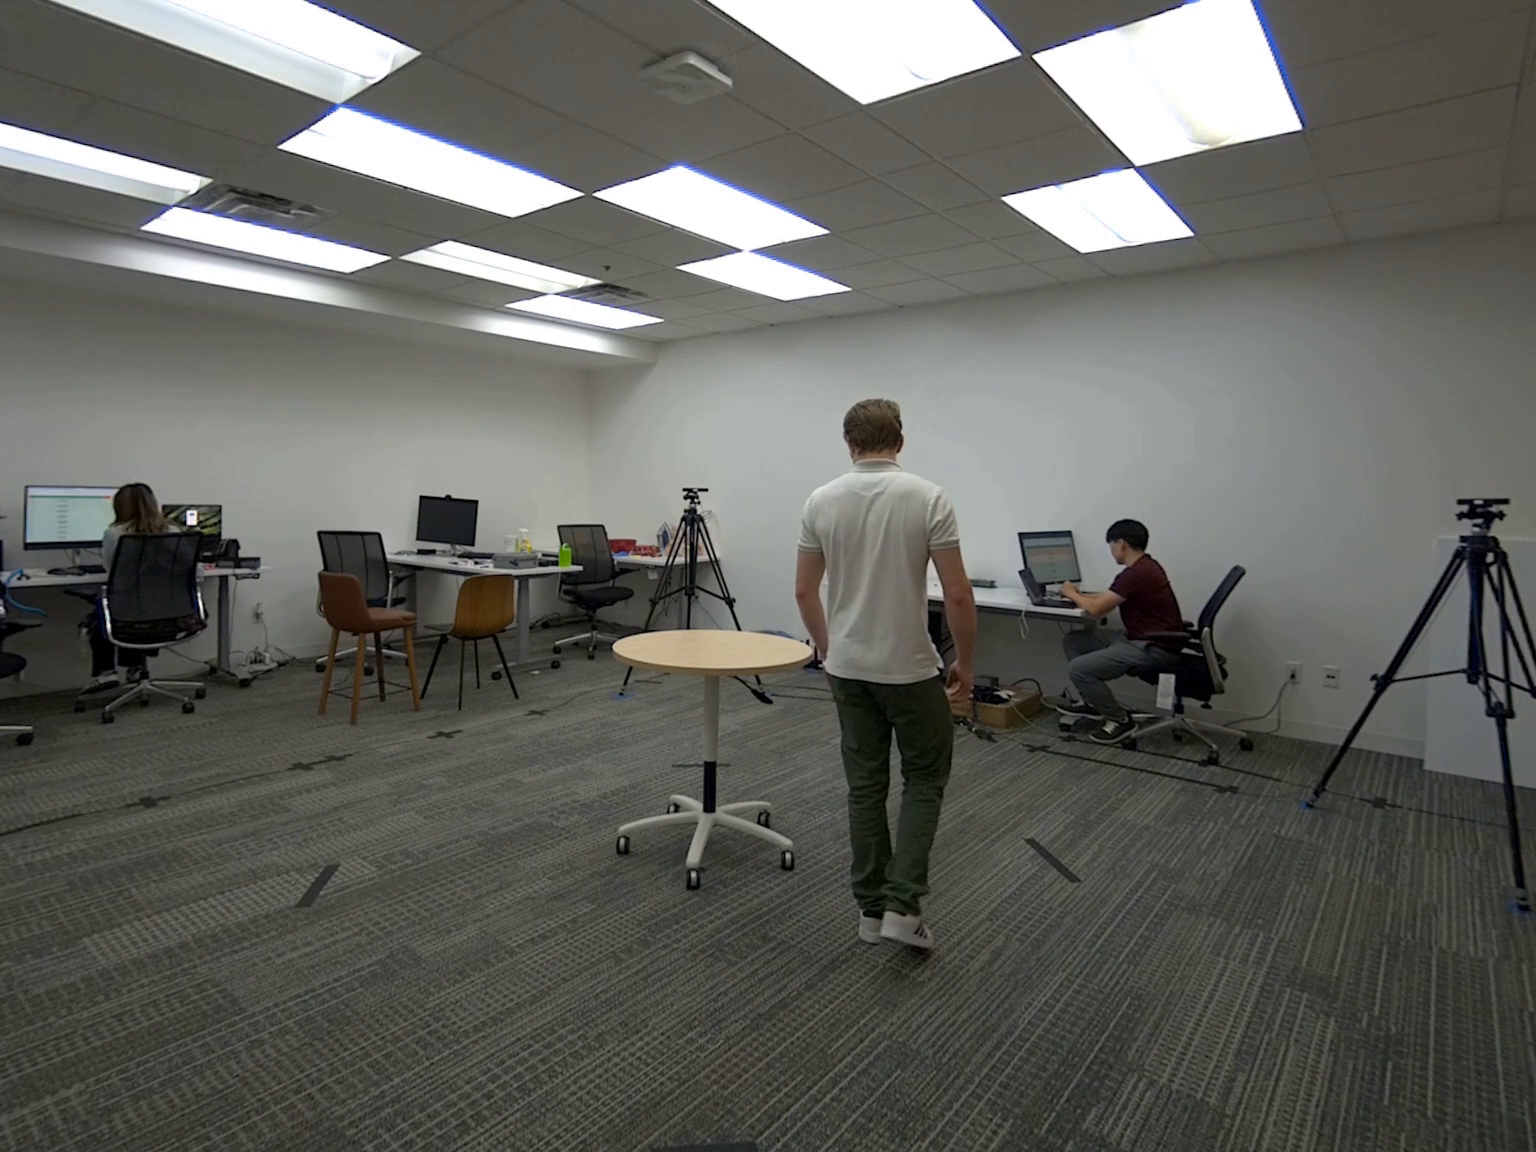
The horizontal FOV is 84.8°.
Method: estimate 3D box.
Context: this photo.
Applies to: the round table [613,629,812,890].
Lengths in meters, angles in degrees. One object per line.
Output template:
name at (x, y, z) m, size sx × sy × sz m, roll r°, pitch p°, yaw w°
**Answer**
round table at (-0.235, 0.659, 3.299) m, size 0.784 × 0.784 × 0.789 m, roll 1°, pitch 5°, yaw -2°
